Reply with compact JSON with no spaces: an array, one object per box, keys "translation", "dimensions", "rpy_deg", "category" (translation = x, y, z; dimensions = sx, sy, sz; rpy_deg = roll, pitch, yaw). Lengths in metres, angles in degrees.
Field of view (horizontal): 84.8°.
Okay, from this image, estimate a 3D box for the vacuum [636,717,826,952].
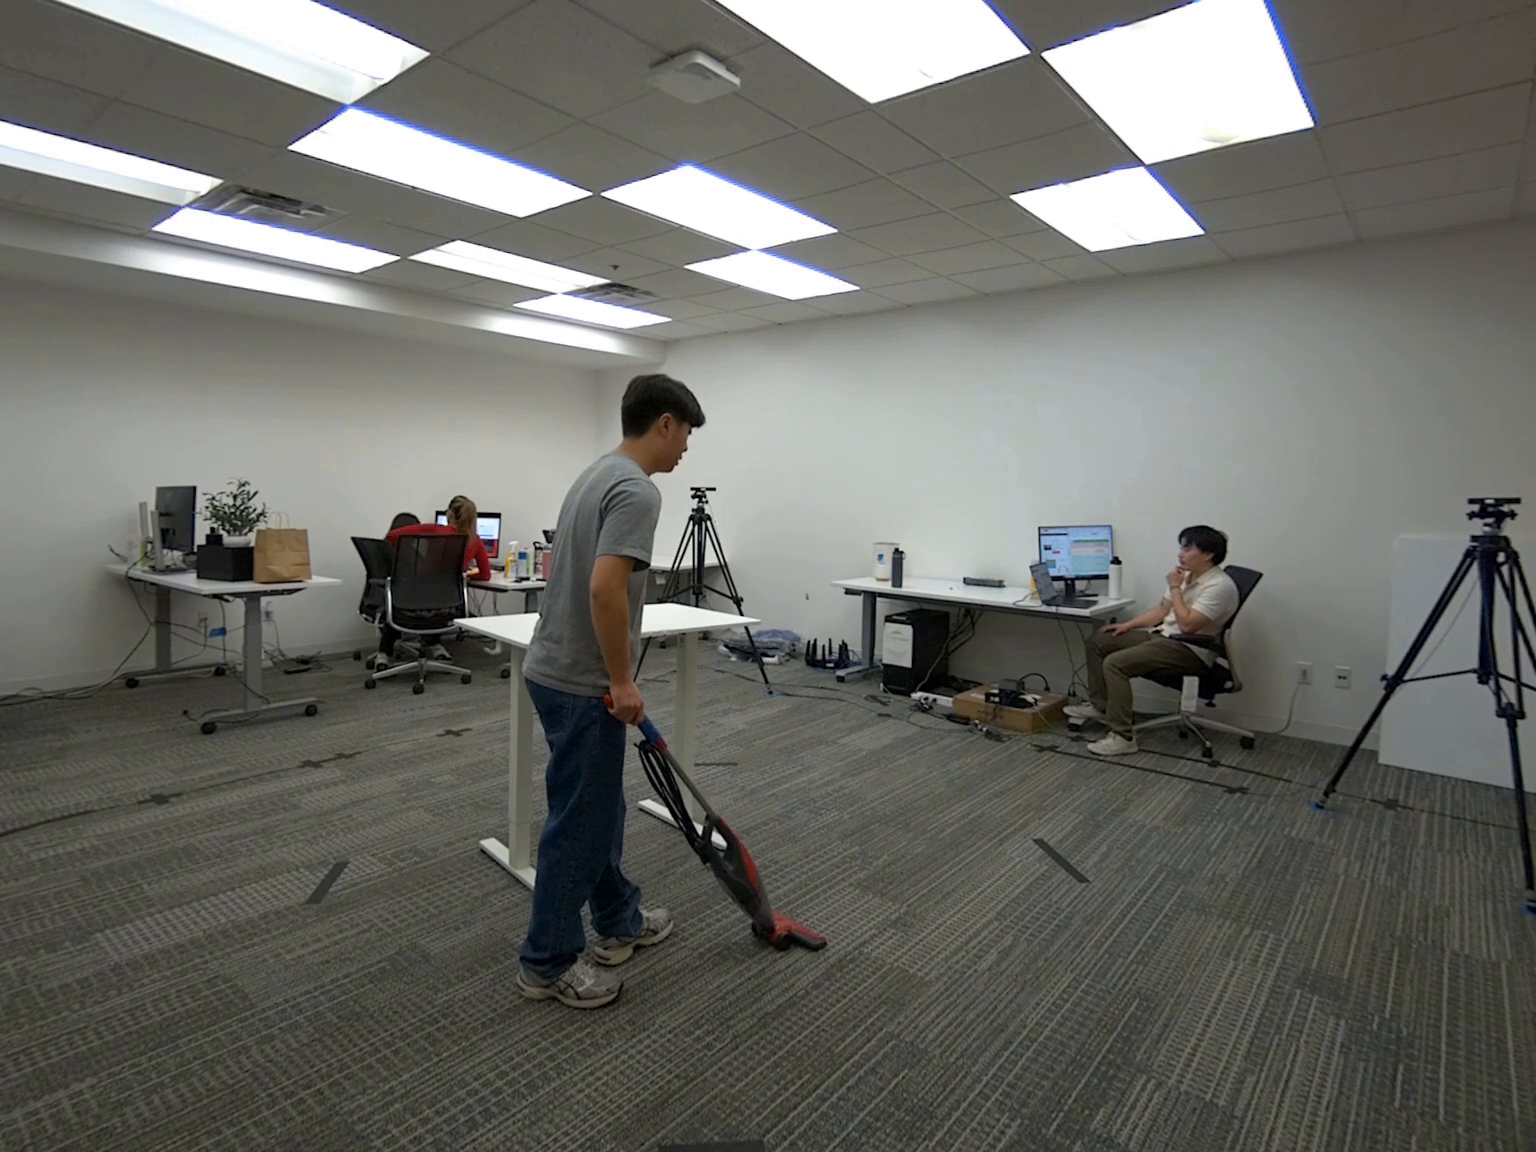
[{"translation":[-0.171,0.720,2.418],"dimensions":[0.261,1.016,0.144],"rpy_deg":[3,40,46],"category":"vacuum"}]
